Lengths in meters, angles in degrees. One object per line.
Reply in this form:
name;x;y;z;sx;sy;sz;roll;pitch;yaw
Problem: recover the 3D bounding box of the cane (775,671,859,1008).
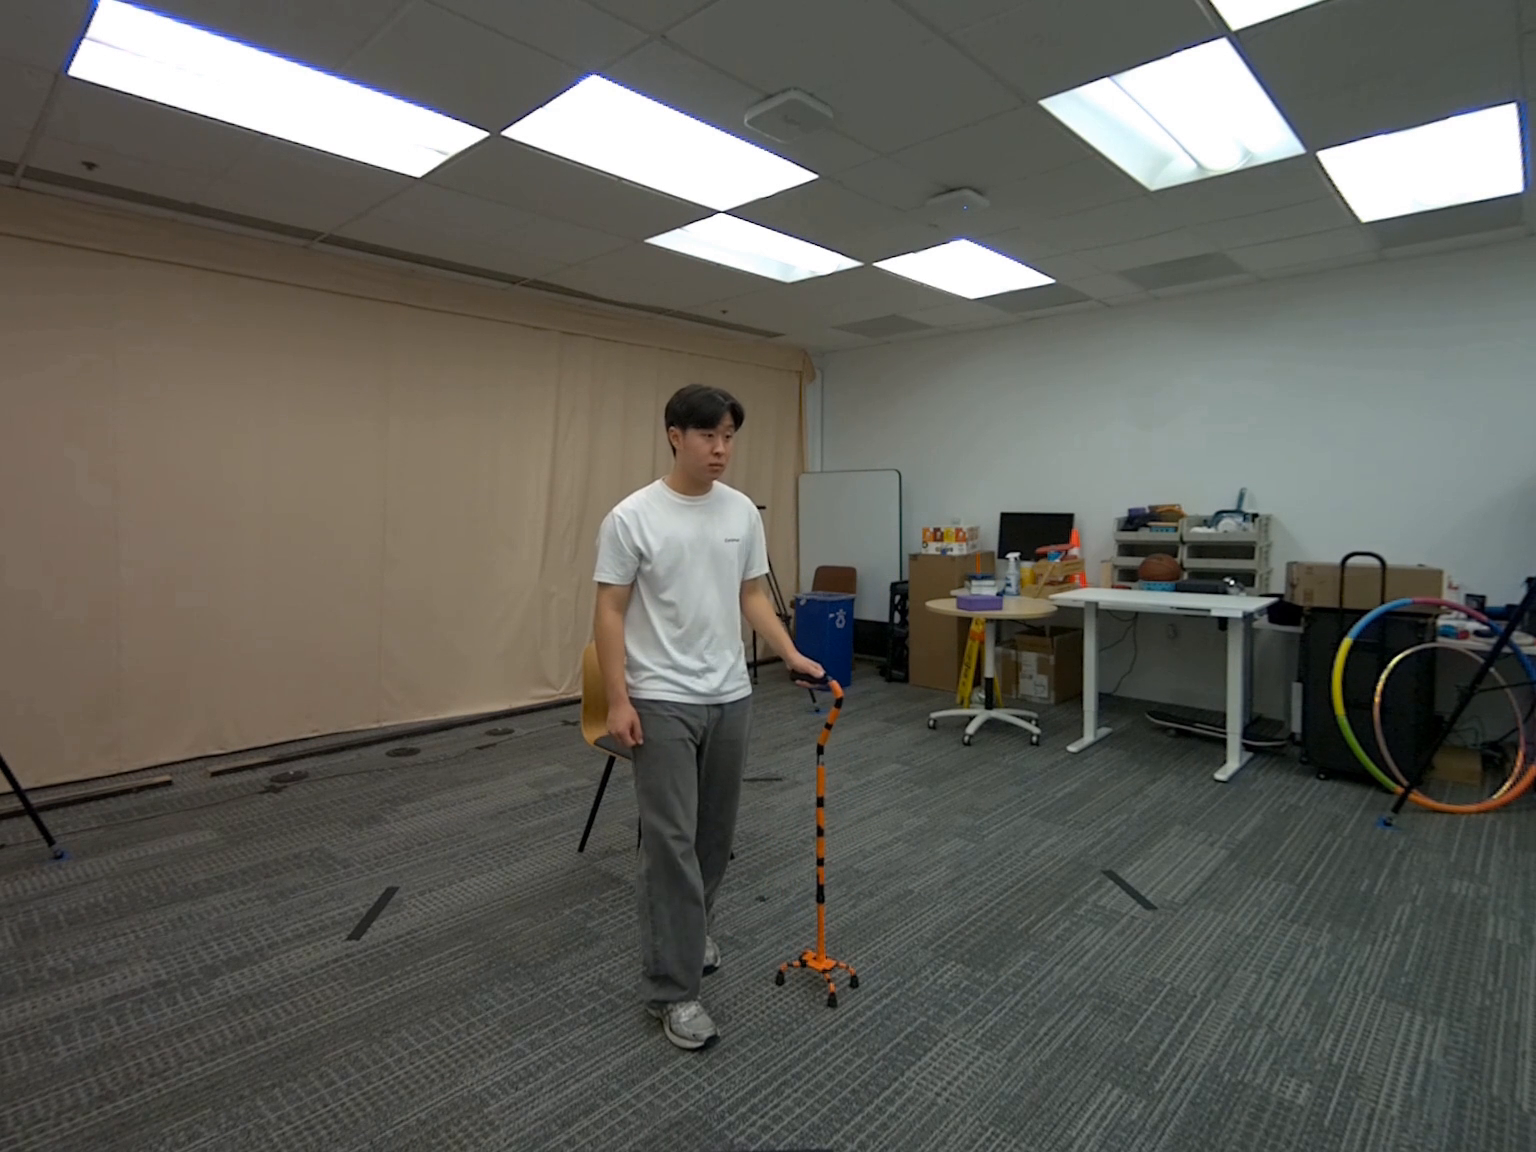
cane;0.160;0.742;2.429;0.213;0.907;0.147;2;1;37
